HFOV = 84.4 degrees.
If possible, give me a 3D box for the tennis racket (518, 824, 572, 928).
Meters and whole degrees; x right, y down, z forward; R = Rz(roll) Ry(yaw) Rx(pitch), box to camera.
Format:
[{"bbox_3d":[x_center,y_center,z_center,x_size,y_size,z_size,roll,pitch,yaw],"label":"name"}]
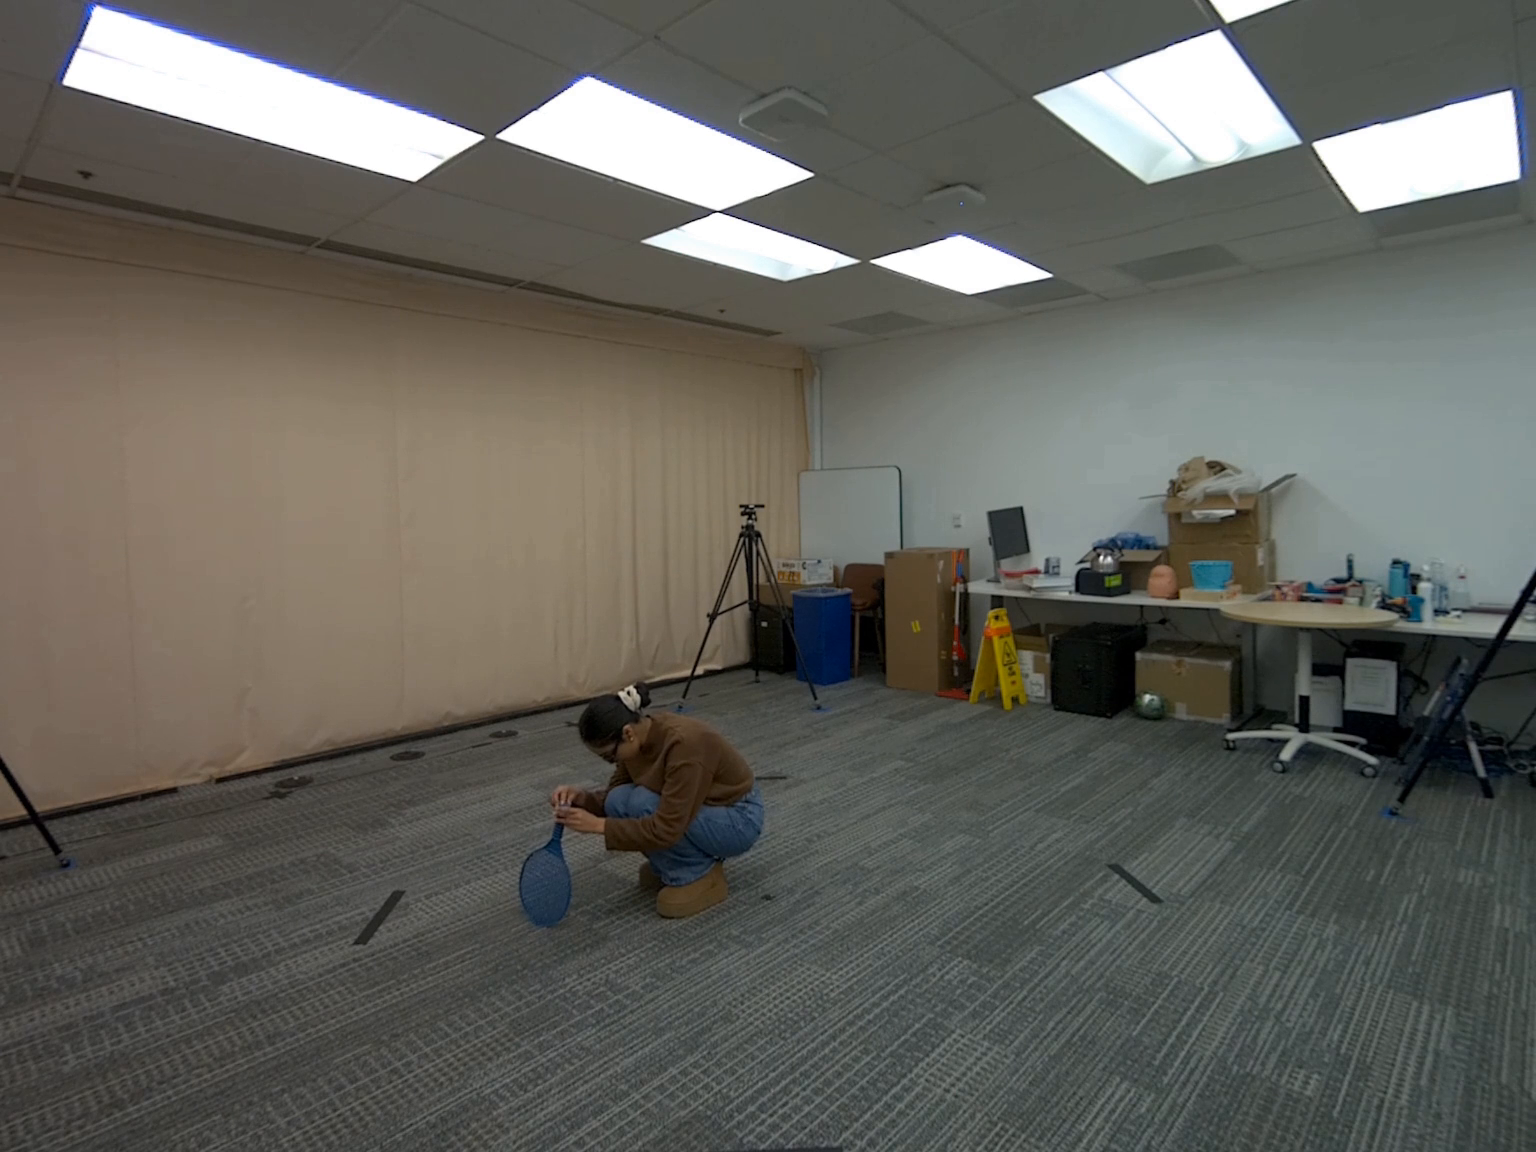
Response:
[{"bbox_3d":[-0.723,0.964,2.807,0.219,0.432,0.031,20,6,21],"label":"tennis racket"}]
